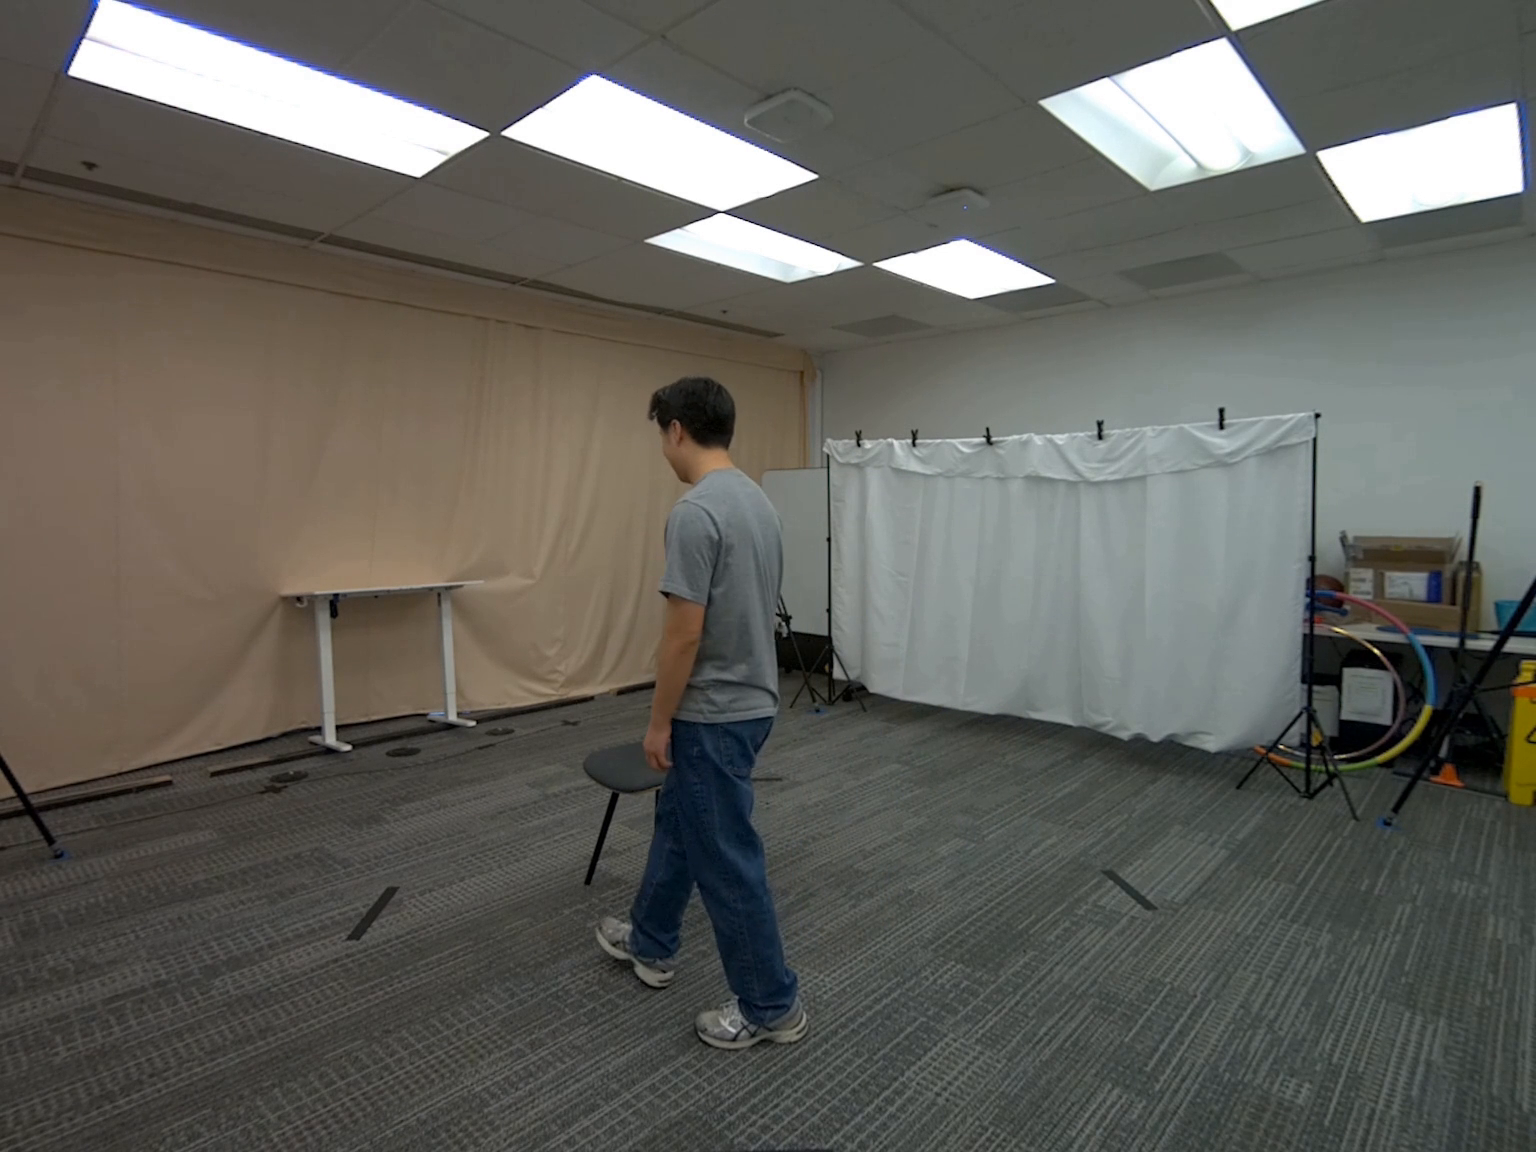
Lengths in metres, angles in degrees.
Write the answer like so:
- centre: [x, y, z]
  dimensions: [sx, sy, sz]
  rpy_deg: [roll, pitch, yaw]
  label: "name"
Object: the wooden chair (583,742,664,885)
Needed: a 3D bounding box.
- centre: [-0.371, 0.713, 3.034]
  dimensions: [0.506, 0.877, 0.494]
  rpy_deg: [3, 1, -40]
  label: "wooden chair"
